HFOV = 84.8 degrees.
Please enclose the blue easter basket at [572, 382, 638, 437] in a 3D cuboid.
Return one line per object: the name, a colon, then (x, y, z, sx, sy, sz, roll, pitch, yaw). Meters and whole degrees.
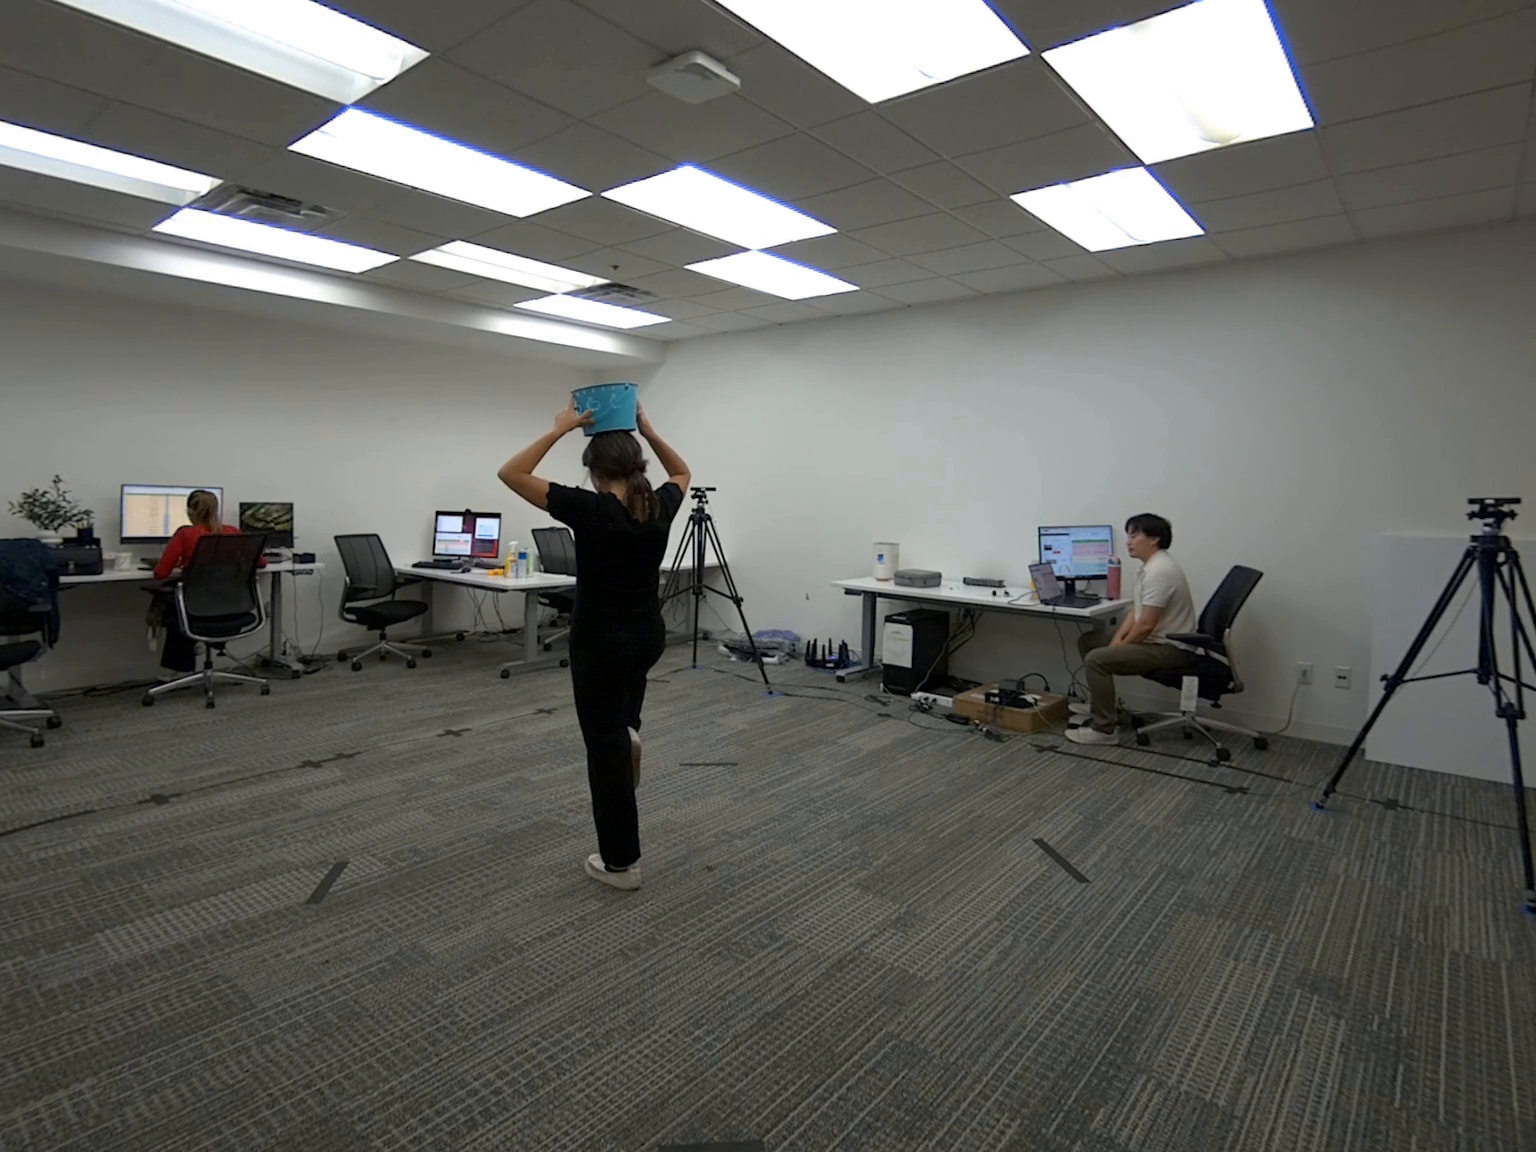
blue easter basket: (-0.563, -0.568, 2.910, 0.243, 0.155, 0.244, -6, 3, -2)
